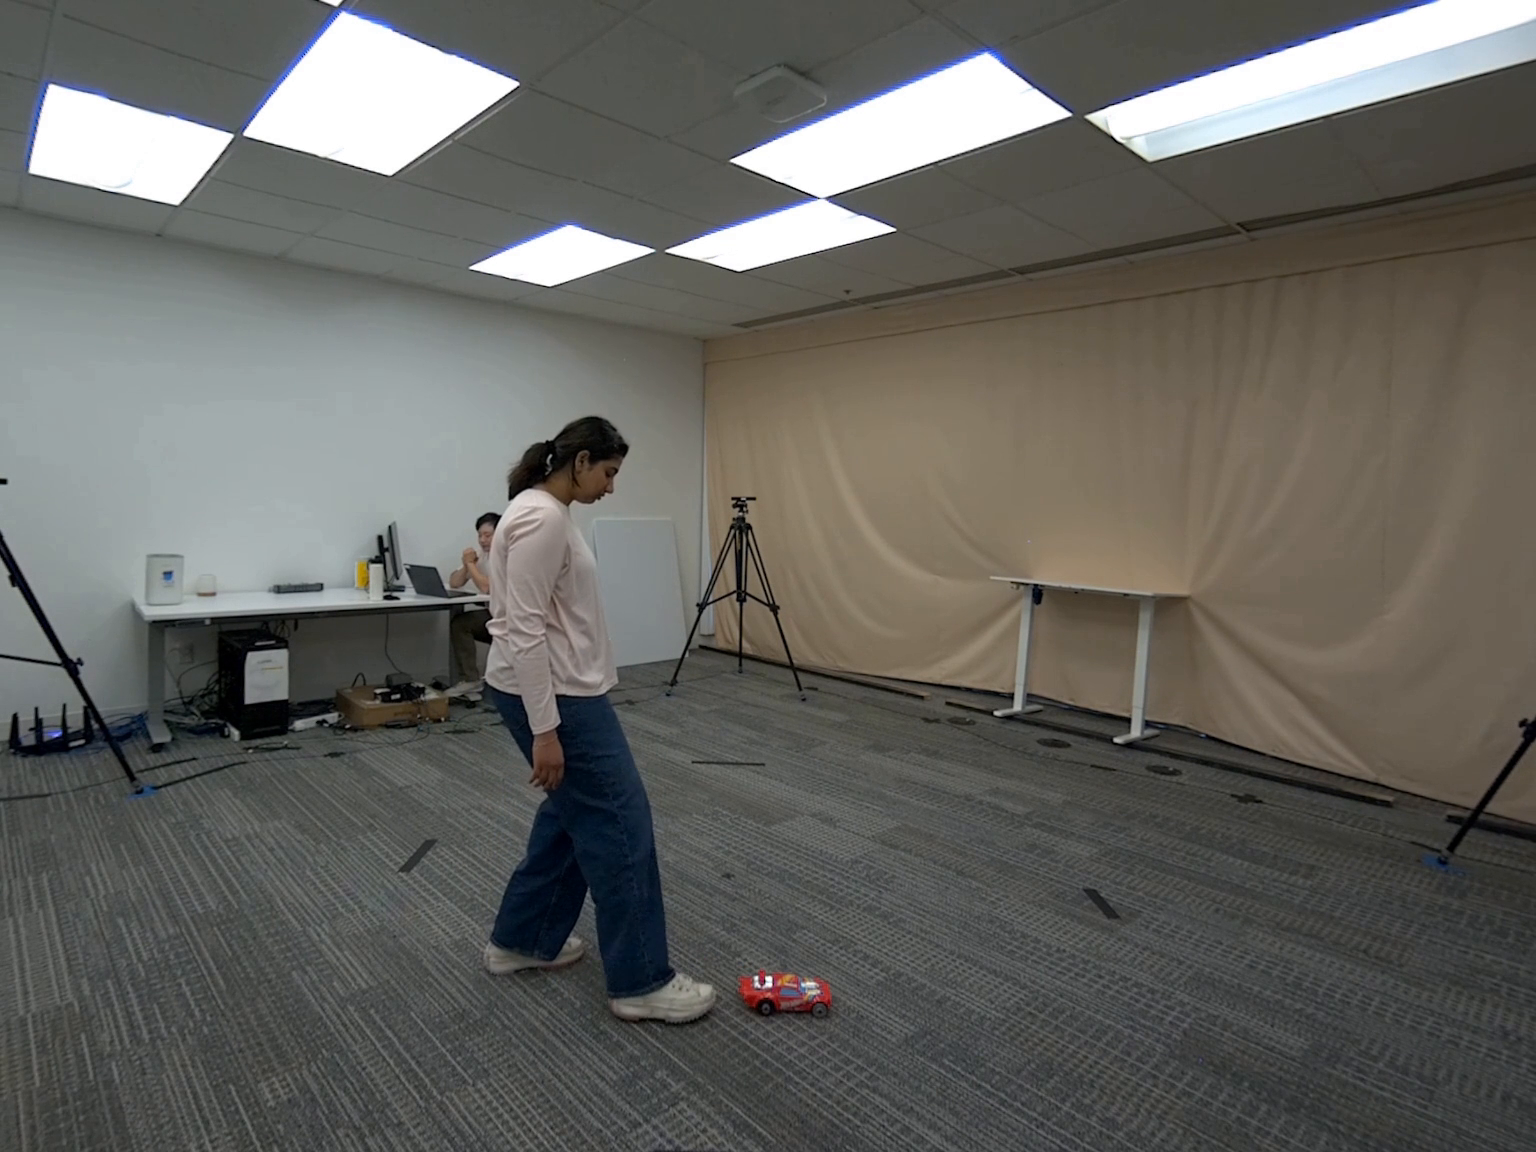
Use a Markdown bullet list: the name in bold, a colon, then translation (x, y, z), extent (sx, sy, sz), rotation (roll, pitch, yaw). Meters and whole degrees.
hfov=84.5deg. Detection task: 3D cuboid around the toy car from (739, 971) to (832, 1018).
- **toy car**: translation (0.036, 1.154, 2.307), extent (0.255, 0.083, 0.130), rotation (13, 3, 0)
